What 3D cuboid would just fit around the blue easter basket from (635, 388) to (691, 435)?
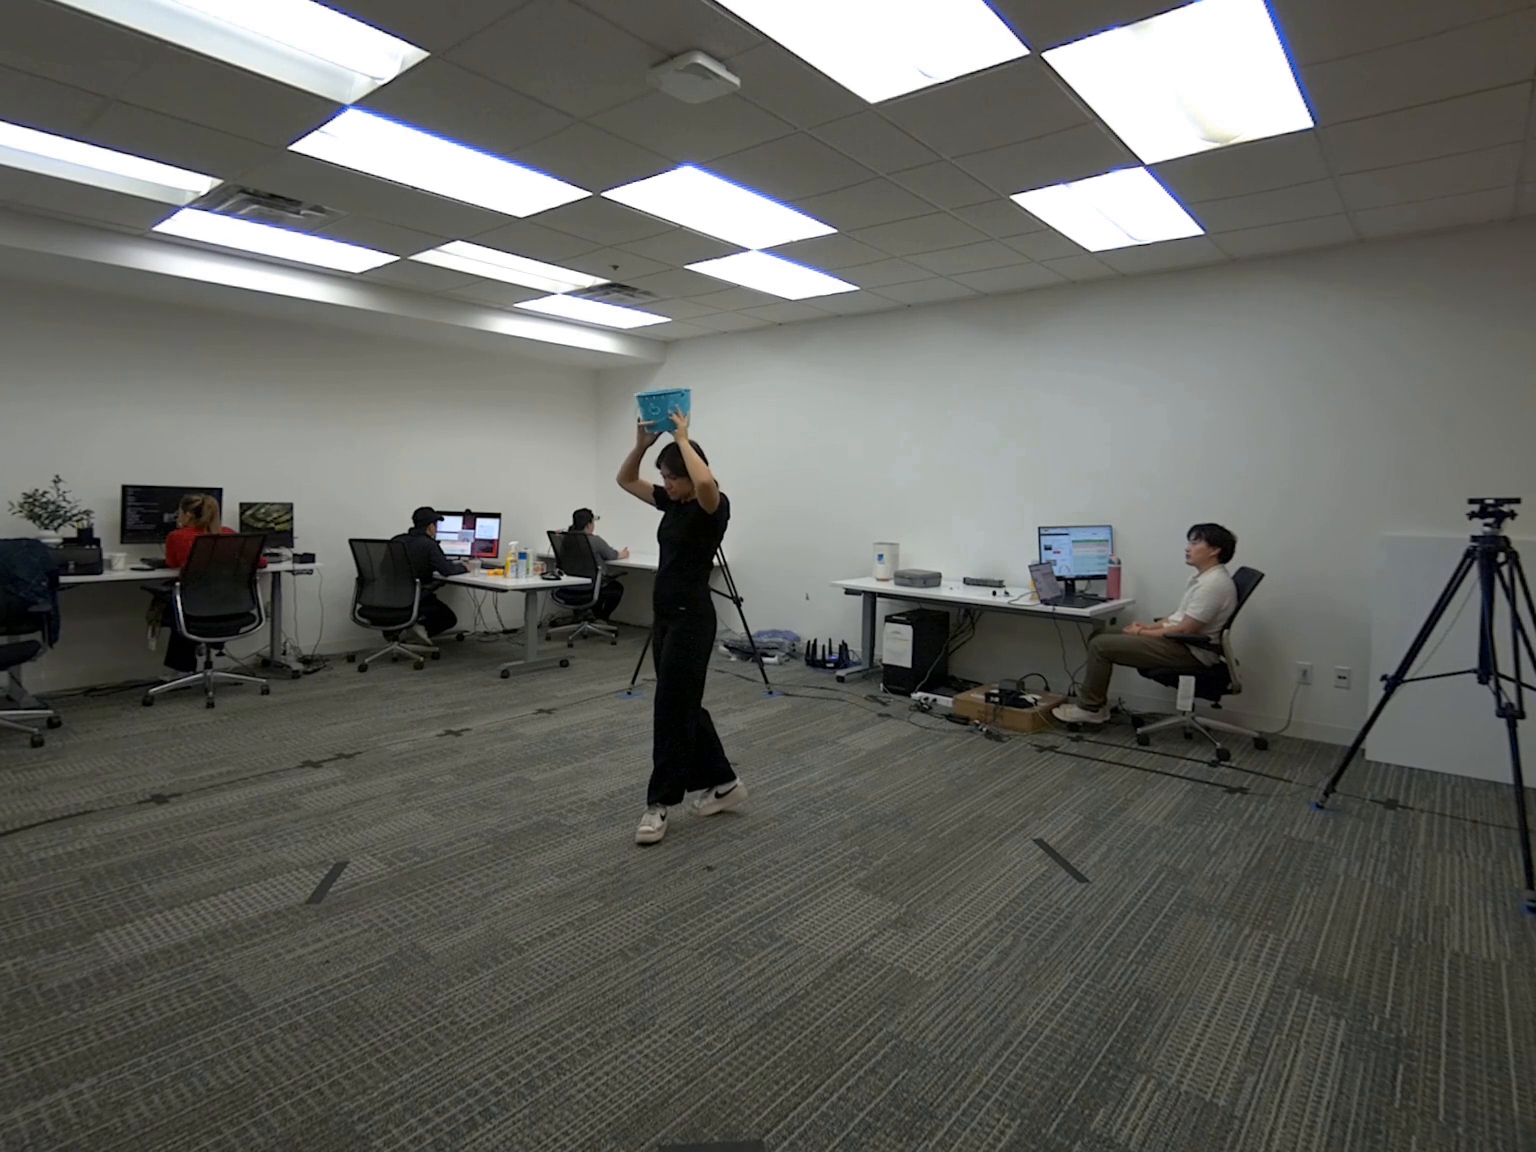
[{"bbox_3d":[-0.434,-0.659,3.410,0.244,0.154,0.247,-6,14,0],"label":"blue easter basket"}]
